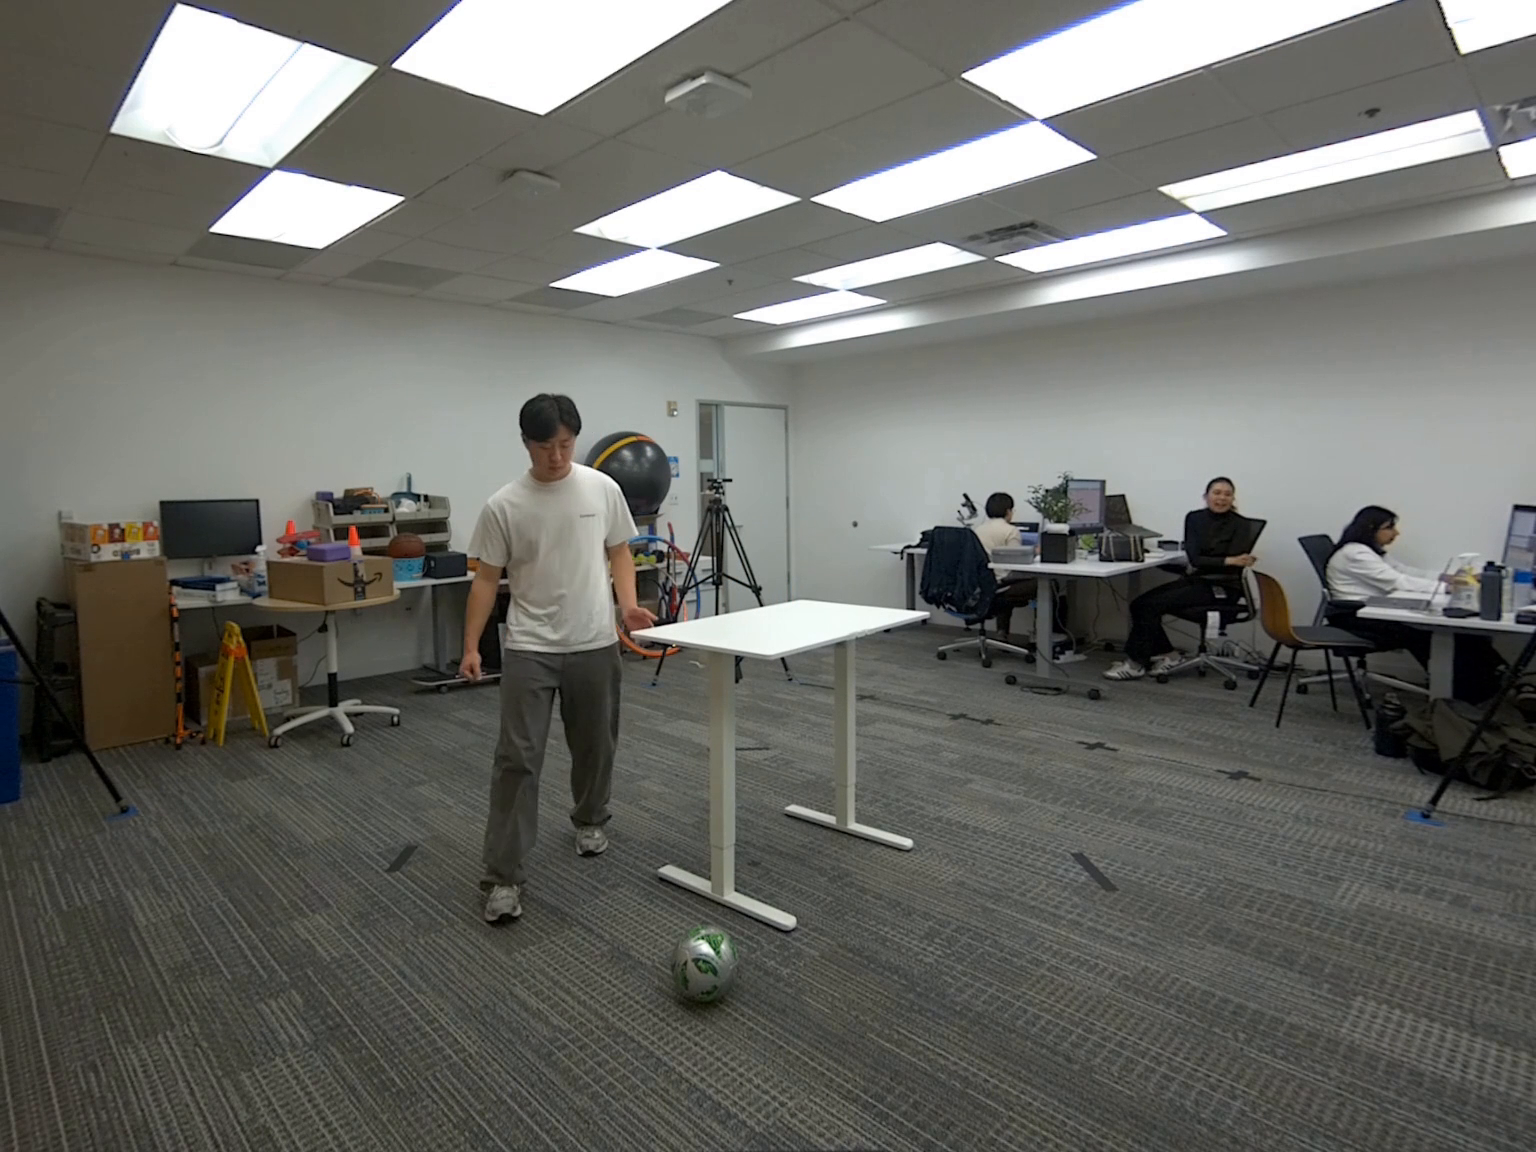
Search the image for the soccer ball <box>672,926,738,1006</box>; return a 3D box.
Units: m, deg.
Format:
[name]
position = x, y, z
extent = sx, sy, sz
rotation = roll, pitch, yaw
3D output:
[soccer ball]
position = -0.162, 1.055, 2.316
extent = 0.187, 0.187, 0.188
rotation = -1, 5, -2
